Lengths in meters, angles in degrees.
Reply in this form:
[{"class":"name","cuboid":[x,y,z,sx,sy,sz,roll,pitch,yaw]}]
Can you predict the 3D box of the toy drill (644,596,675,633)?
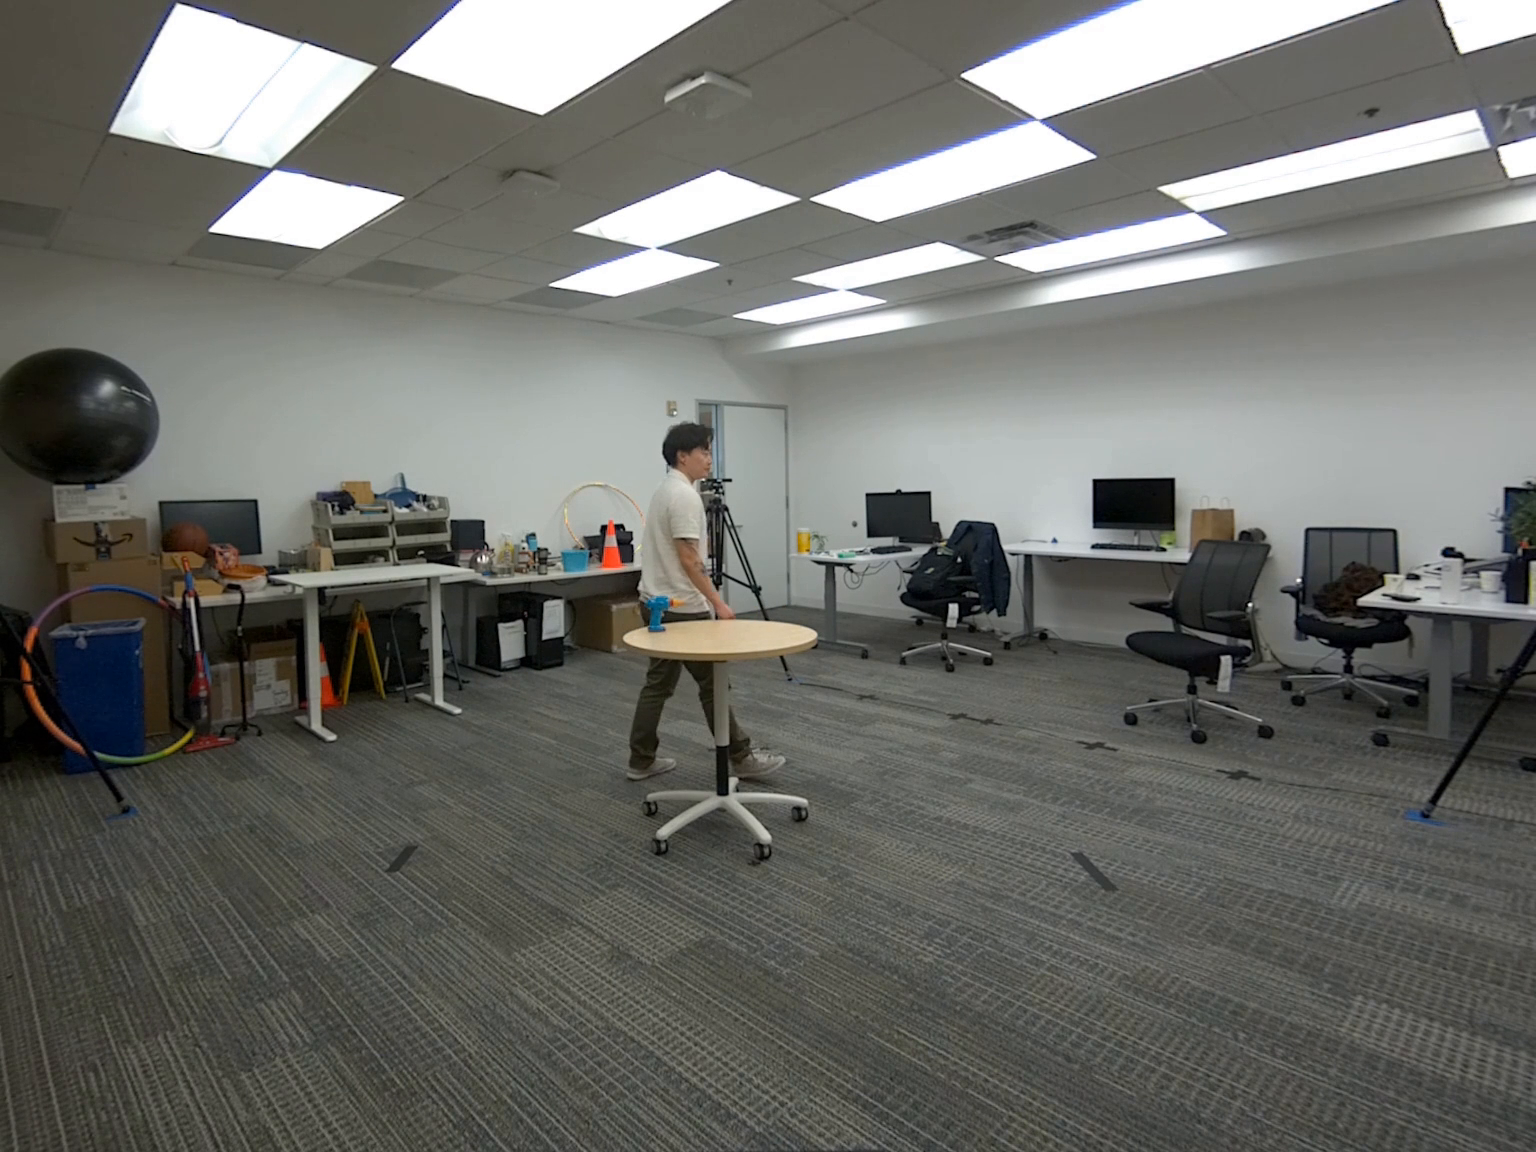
[{"class":"toy drill","cuboid":[-0.415,0.150,3.498,0.167,0.146,0.062,-2,3,-19]}]
